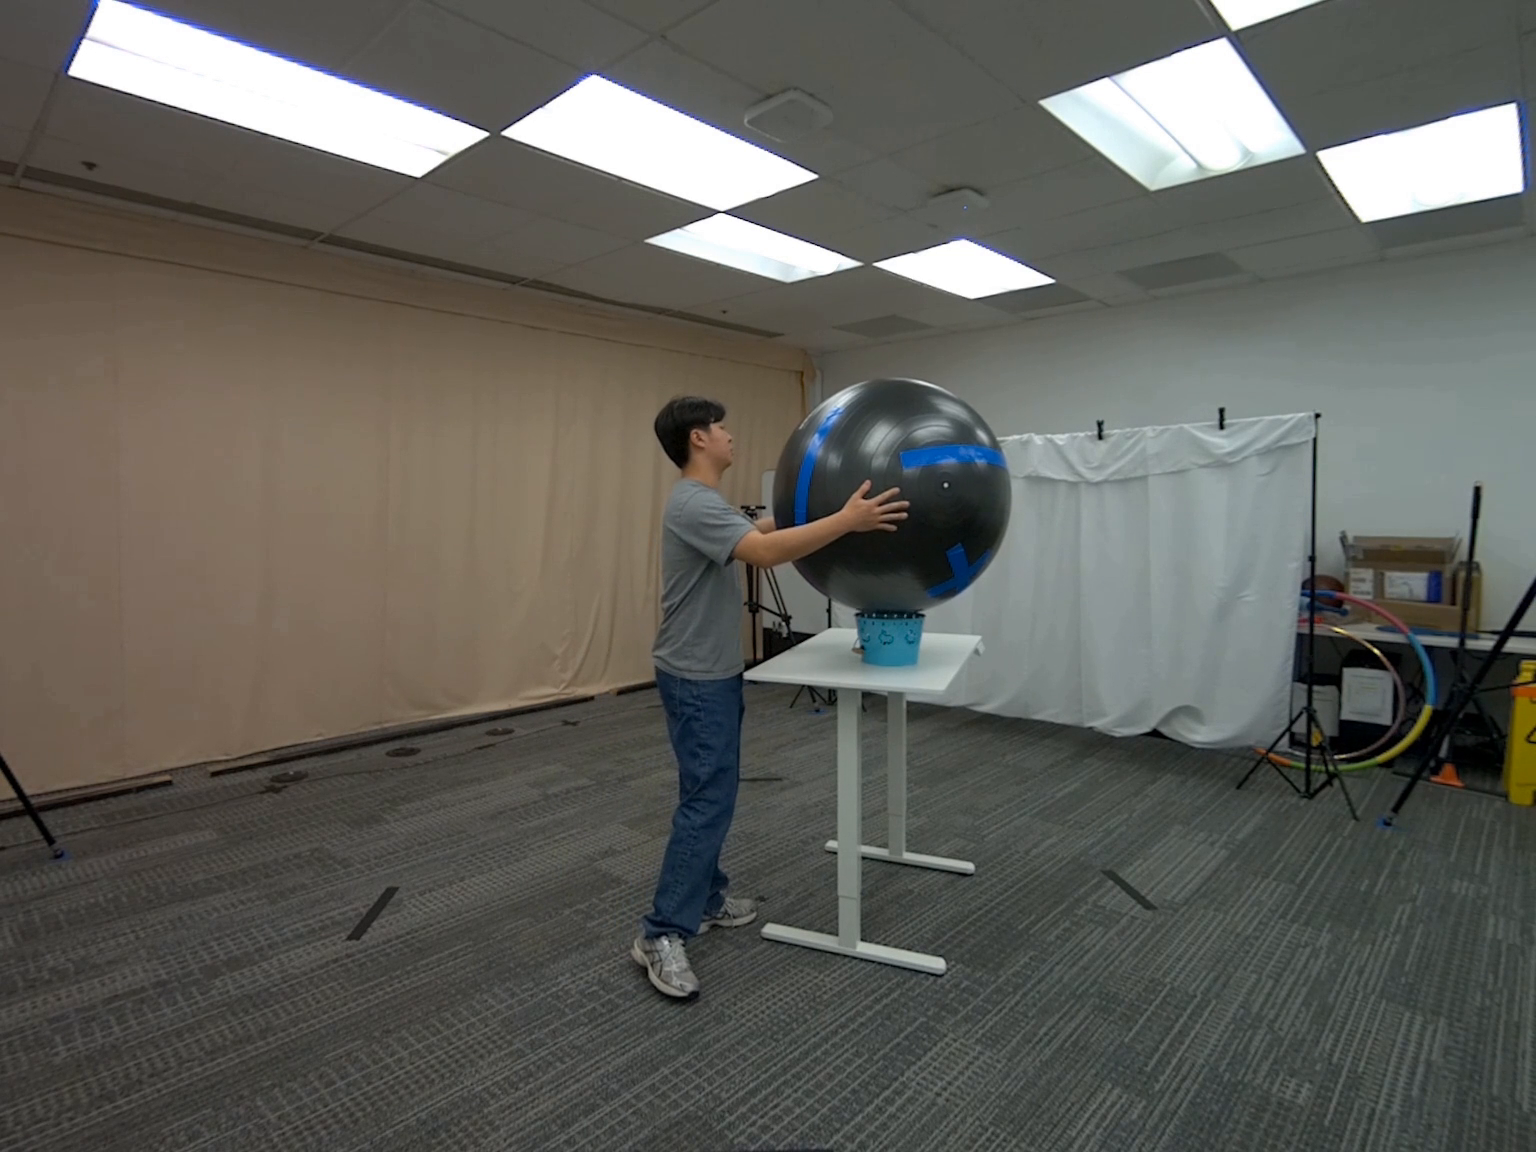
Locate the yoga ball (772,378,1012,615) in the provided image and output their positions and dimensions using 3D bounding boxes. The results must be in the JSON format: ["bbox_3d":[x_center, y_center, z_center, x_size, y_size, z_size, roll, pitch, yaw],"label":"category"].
[{"bbox_3d":[0.397,-0.253,2.743,0.757,0.756,0.760,0,4,-2],"label":"yoga ball"}]
